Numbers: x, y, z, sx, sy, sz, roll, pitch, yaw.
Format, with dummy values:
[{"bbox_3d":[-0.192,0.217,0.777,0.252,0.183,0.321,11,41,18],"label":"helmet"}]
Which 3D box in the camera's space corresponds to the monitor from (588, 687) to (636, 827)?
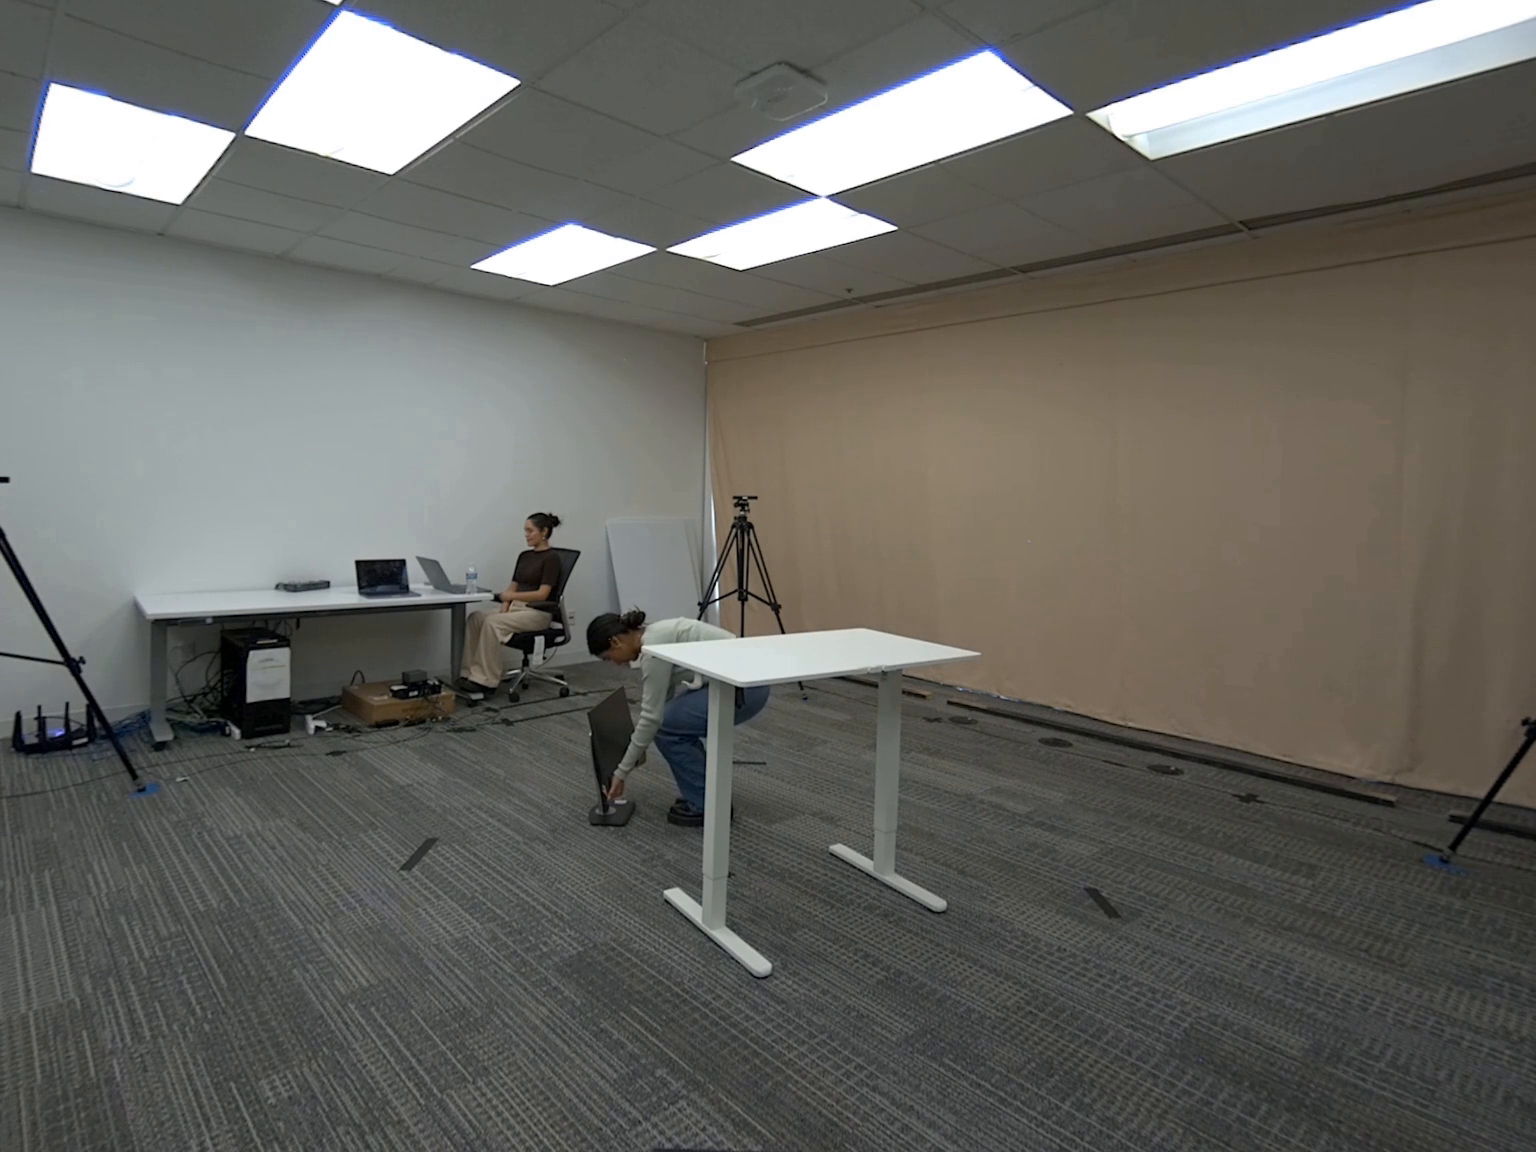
[{"bbox_3d":[-0.688,0.784,3.660,0.187,0.521,0.539,0,3,2],"label":"monitor"}]
